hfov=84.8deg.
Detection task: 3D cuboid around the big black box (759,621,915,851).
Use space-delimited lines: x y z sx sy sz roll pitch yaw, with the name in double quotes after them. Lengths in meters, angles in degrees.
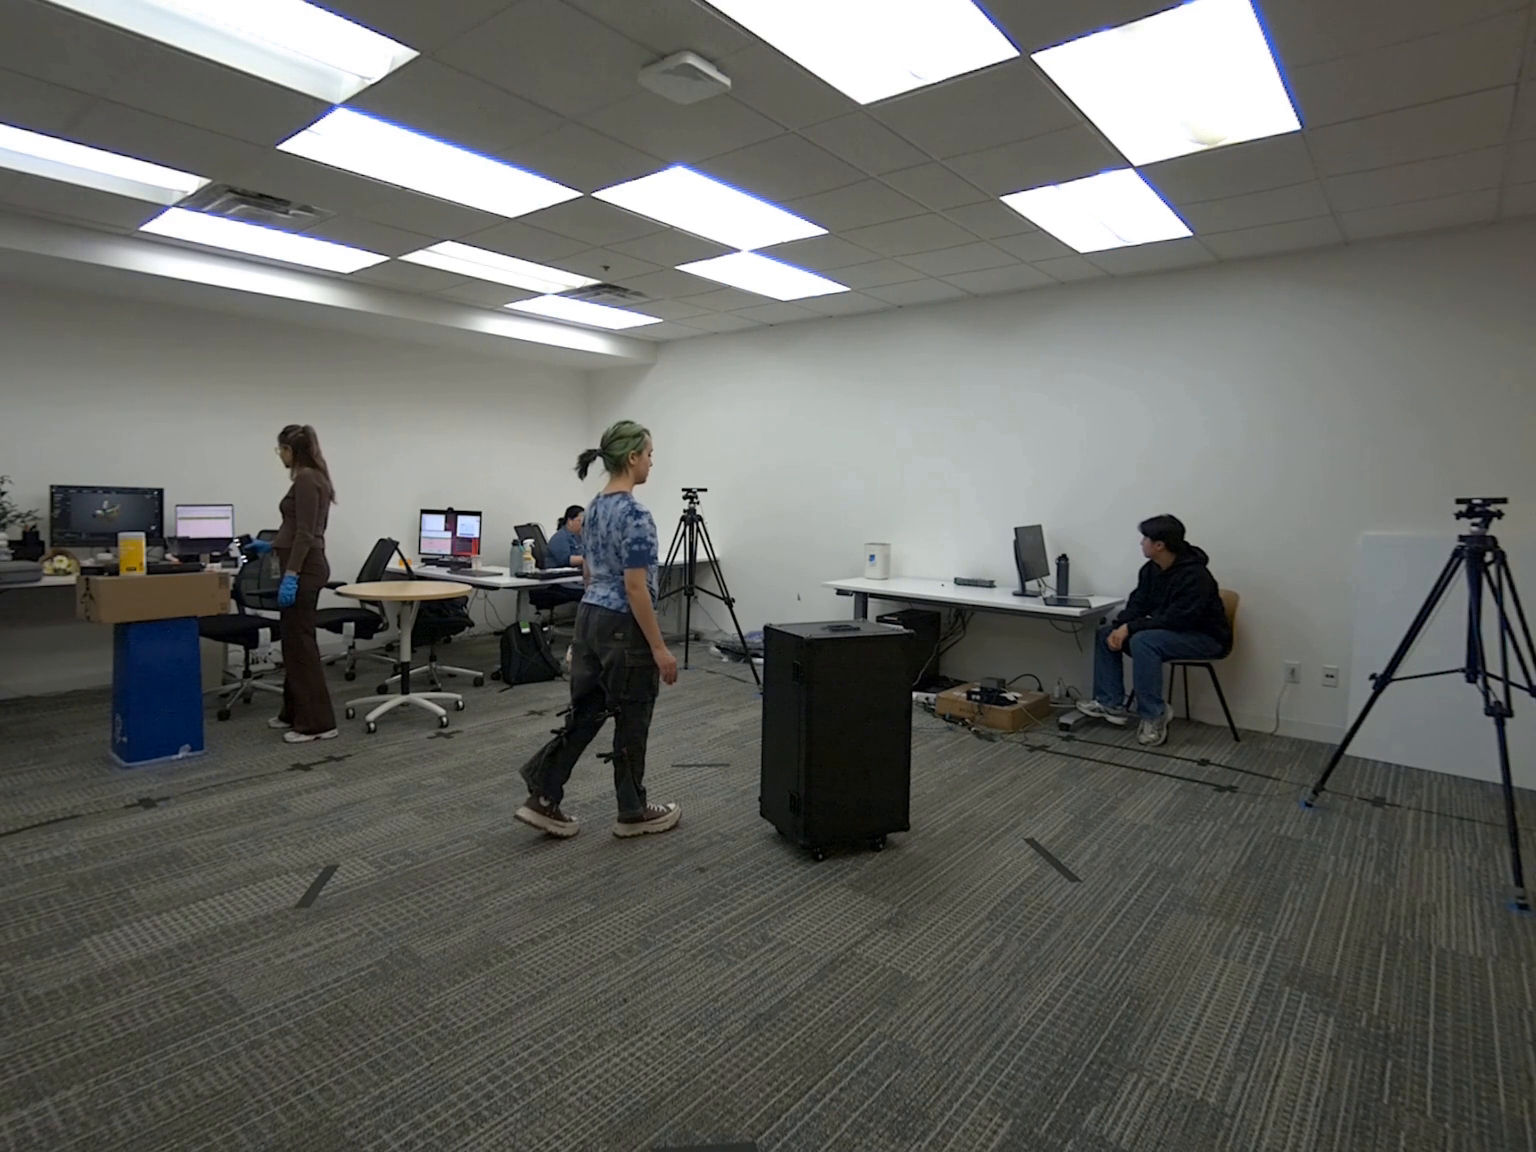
0.253 0.632 3.377 0.509 0.860 0.407 0 2 -25 "big black box"
